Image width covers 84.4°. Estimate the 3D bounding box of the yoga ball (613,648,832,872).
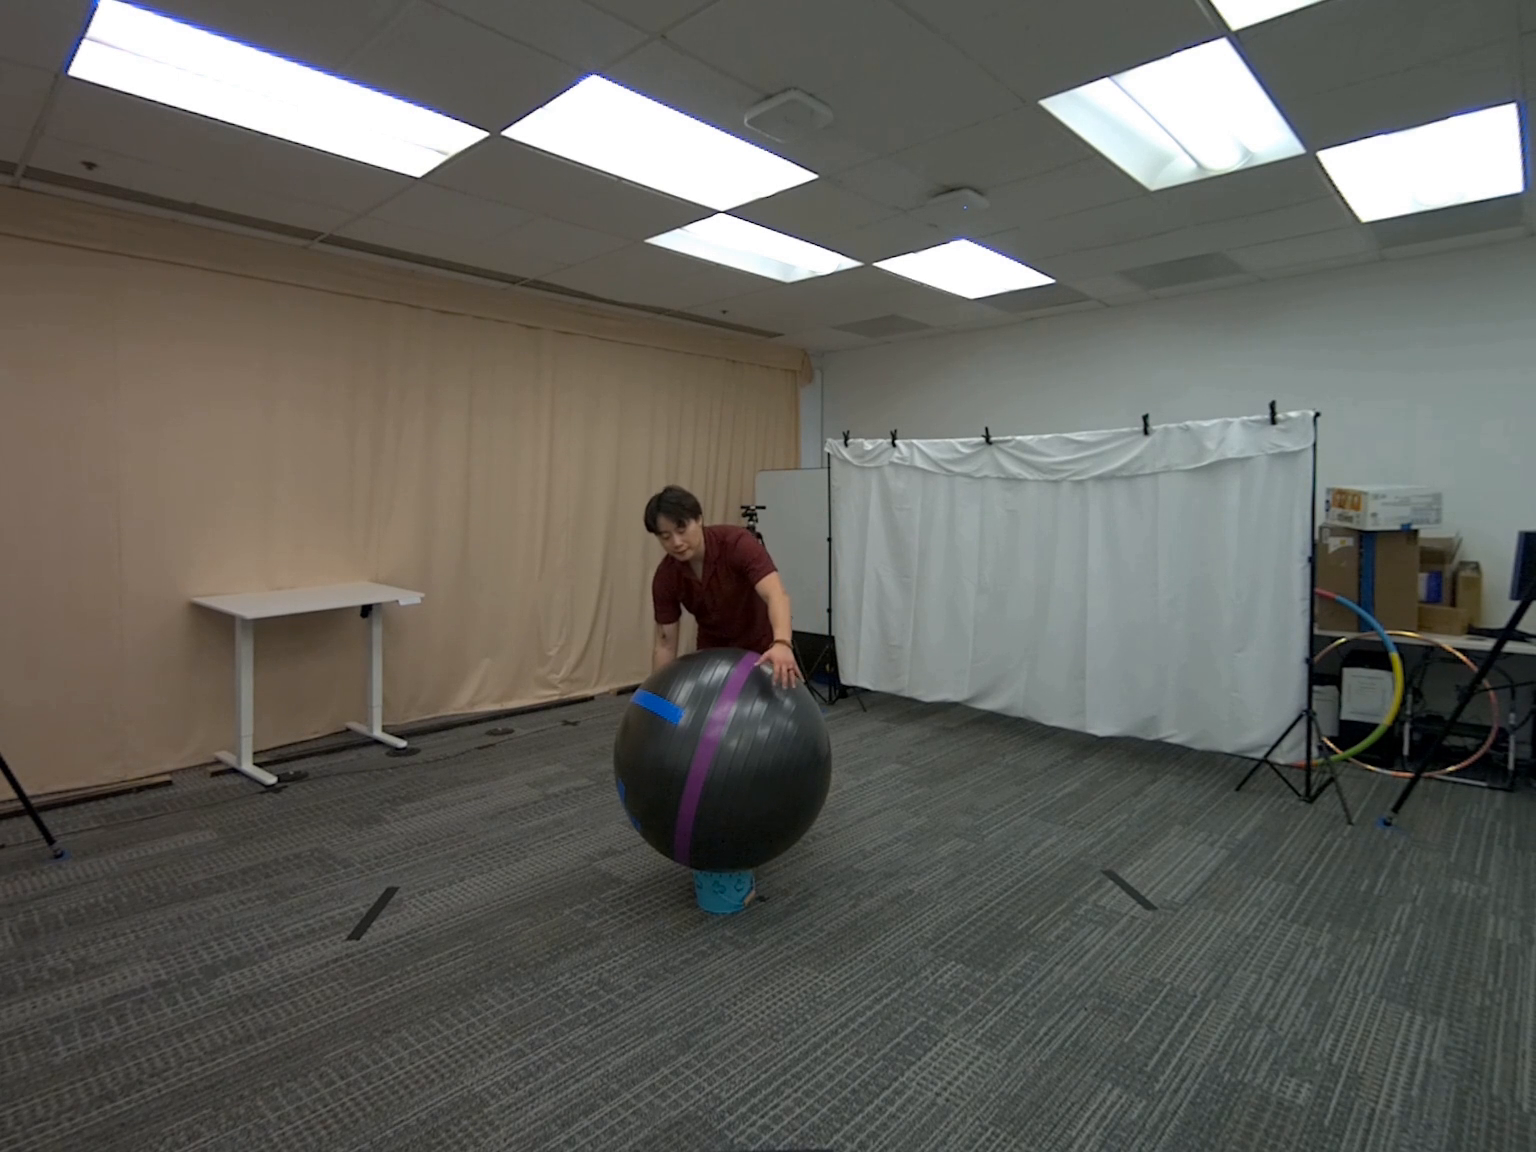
[{"bbox_3d":[-0.152,0.636,2.944,0.757,0.756,0.760,0,4,-2],"label":"yoga ball"}]
